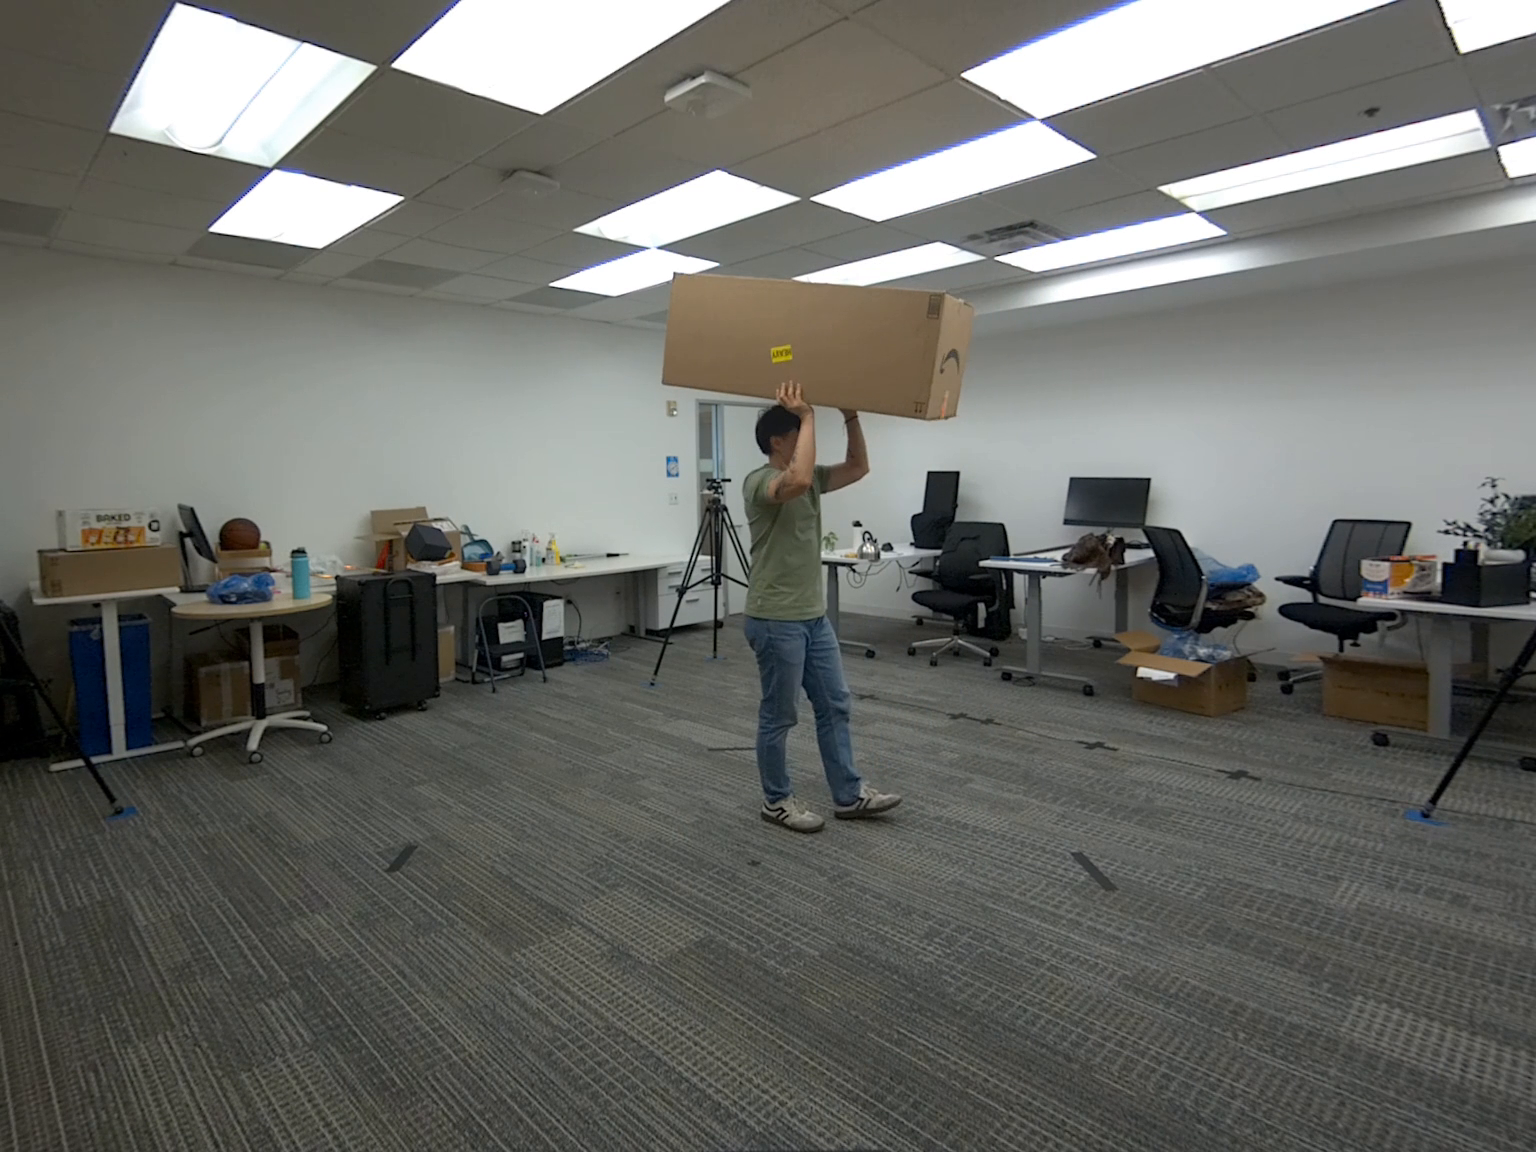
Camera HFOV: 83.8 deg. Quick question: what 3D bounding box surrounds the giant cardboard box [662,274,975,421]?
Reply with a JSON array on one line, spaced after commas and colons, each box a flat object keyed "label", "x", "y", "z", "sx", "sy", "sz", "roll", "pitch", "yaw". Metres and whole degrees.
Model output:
[{"label": "giant cardboard box", "x": 0.189, "y": -0.875, "z": 3.288, "sx": 1.051, "sy": 0.422, "sz": 0.569, "roll": 13, "pitch": 14, "yaw": 23}]
